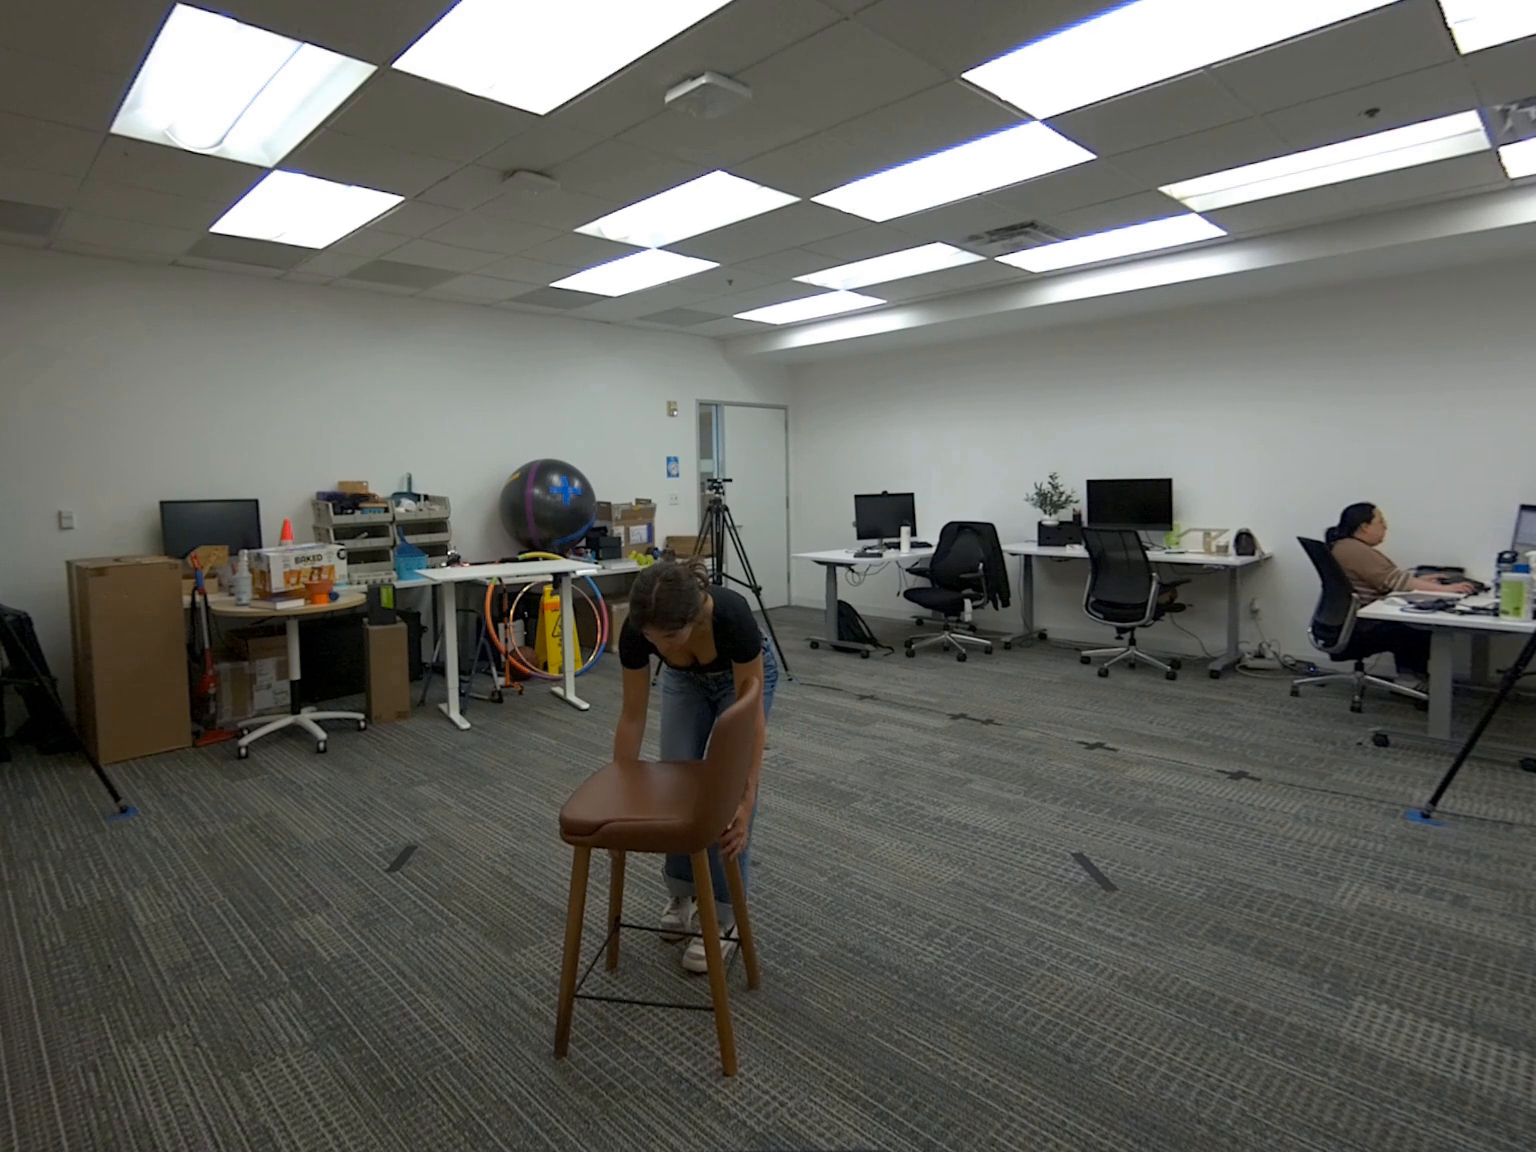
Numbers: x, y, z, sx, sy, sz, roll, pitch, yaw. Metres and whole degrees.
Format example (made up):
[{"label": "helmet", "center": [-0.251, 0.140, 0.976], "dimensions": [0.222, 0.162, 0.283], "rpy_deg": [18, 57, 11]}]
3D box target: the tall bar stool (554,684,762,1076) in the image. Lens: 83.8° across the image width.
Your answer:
[{"label": "tall bar stool", "center": [-0.274, 0.723, 2.198], "dimensions": [0.473, 0.886, 0.453], "rpy_deg": [1, 5, 11]}]
